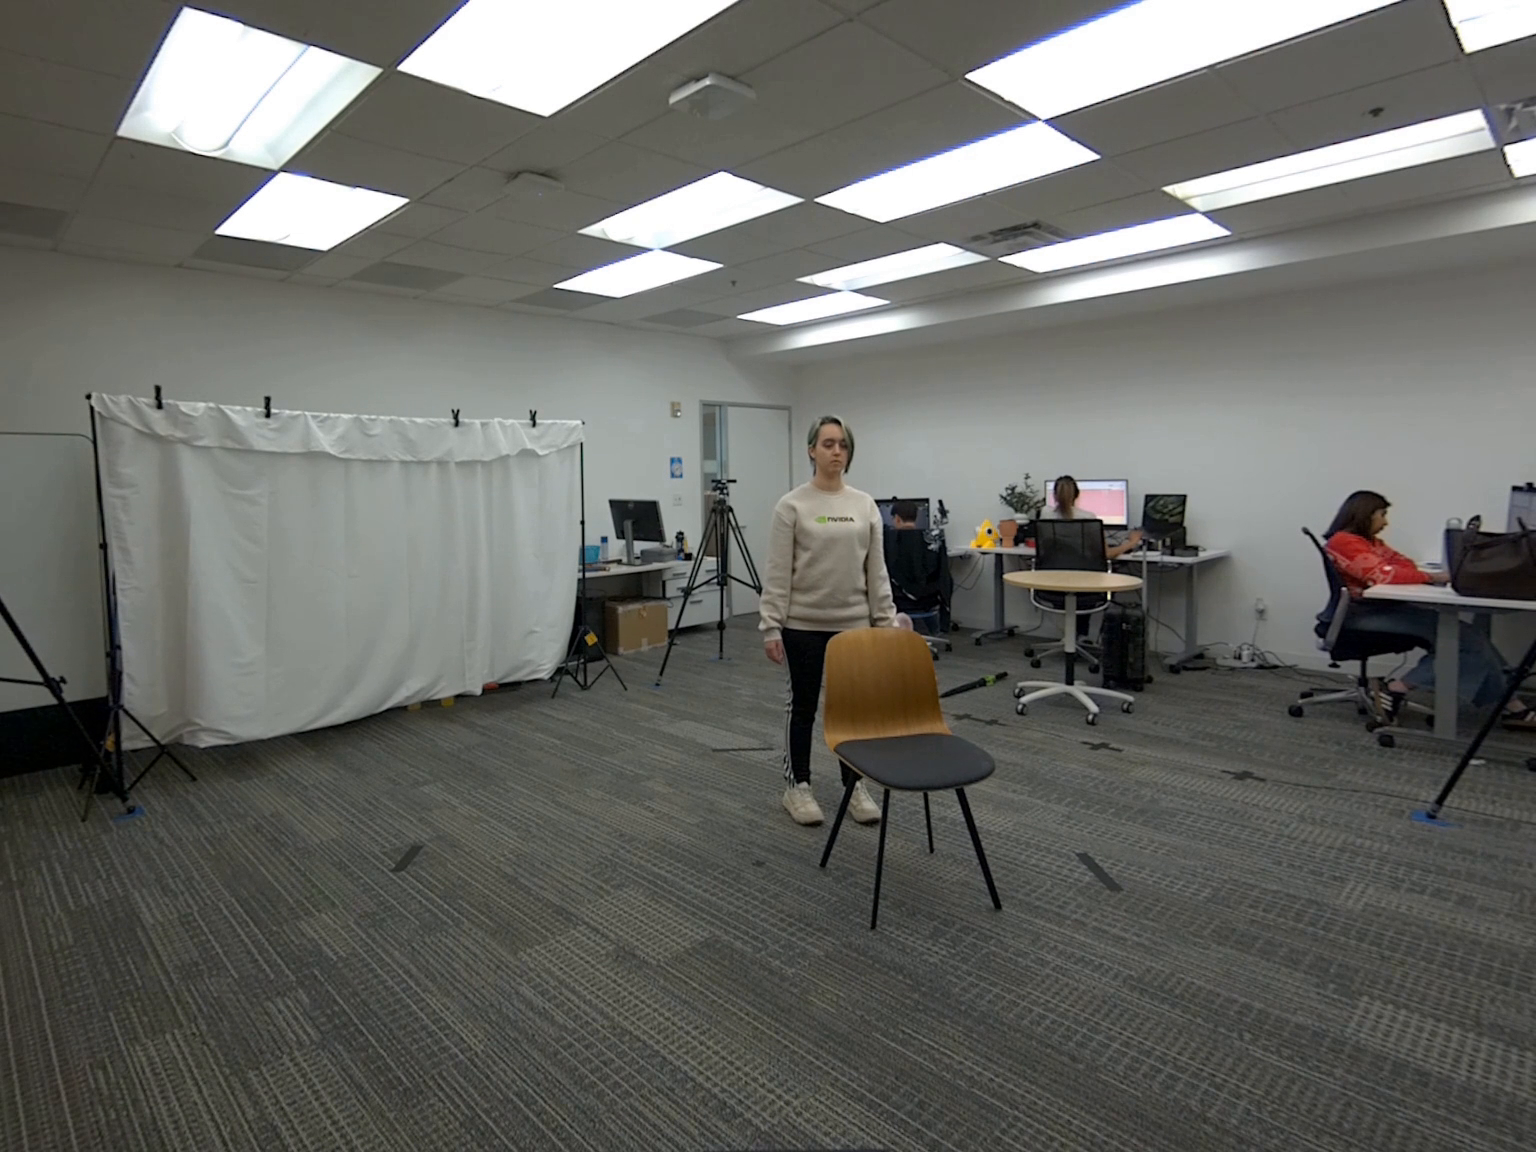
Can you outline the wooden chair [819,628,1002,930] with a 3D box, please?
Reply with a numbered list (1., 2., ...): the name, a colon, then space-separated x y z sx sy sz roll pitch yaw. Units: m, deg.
1. wooden chair: 0.459 0.642 2.869 0.471 0.878 0.531 -2 0 -16
